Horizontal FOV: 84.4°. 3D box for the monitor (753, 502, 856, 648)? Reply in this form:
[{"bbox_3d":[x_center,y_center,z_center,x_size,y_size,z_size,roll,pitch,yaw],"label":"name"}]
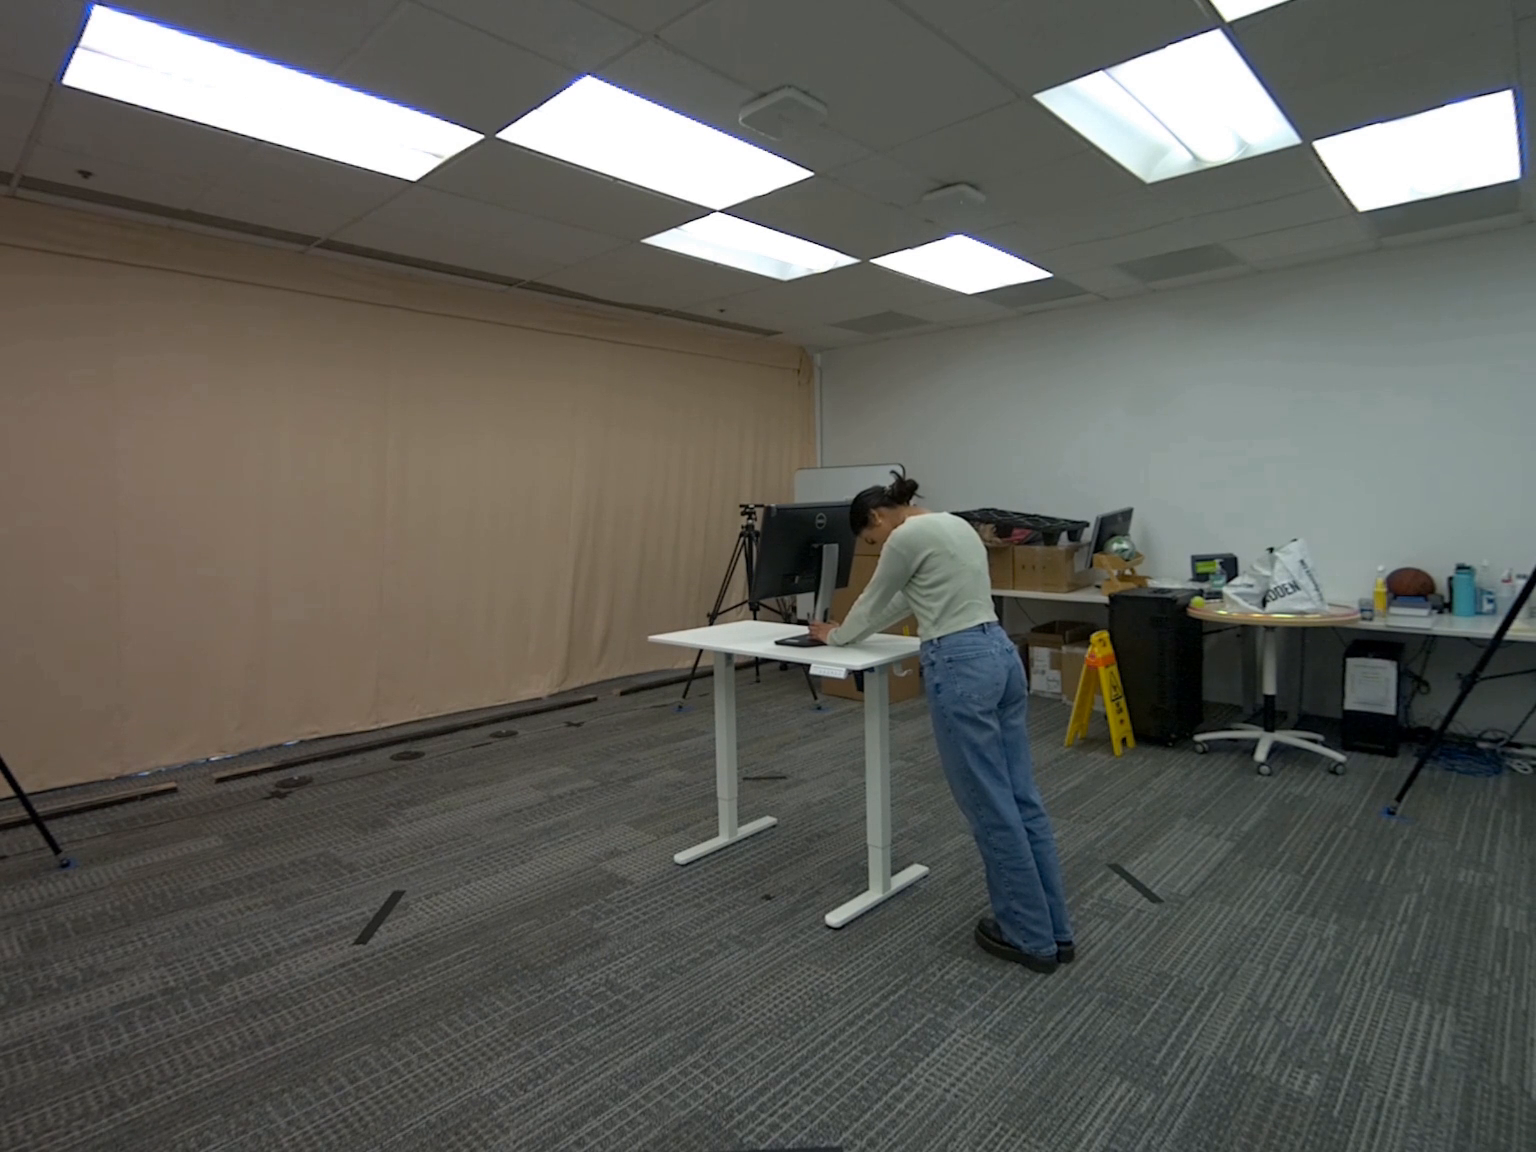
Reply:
[{"bbox_3d":[0.173,-0.010,3.098,0.193,0.521,0.523,3,7,44],"label":"monitor"}]
